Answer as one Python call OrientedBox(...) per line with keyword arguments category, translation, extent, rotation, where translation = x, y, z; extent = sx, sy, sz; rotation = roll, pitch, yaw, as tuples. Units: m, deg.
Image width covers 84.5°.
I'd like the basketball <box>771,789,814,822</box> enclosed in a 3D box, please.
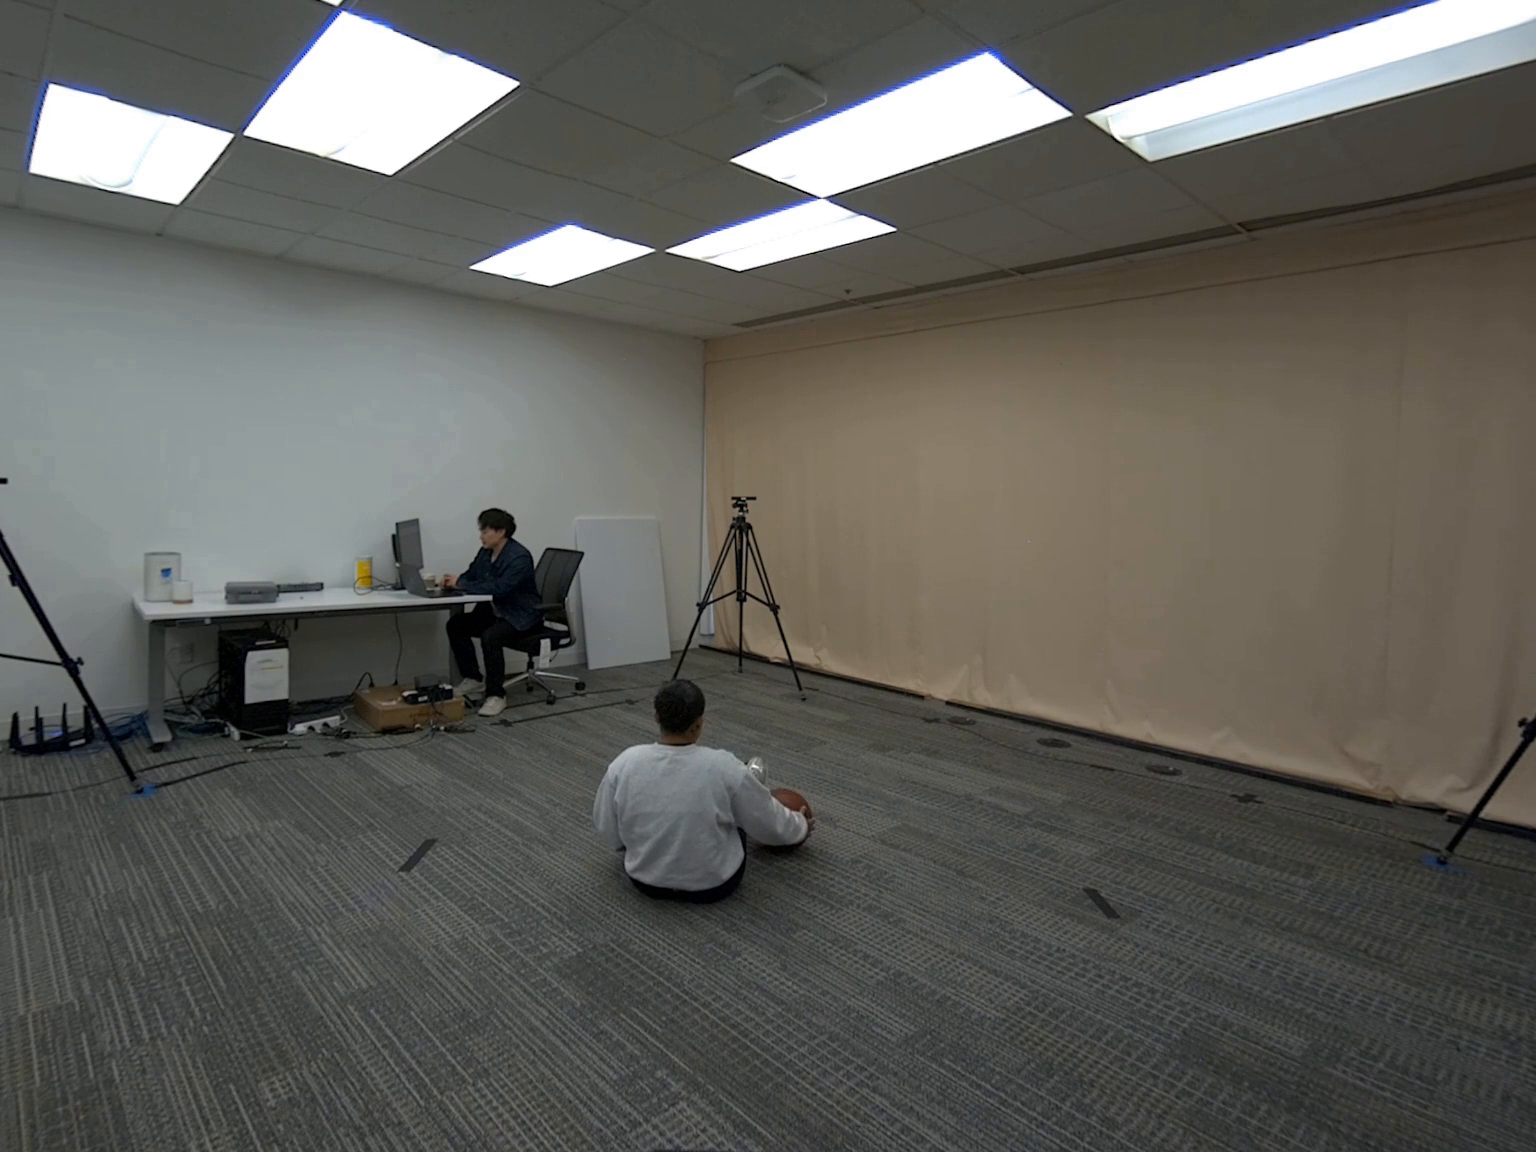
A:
OrientedBox(category="basketball", translation=(0.046, 0.975, 3.349), extent=(0.236, 0.235, 0.237), rotation=(1, 4, -1))
